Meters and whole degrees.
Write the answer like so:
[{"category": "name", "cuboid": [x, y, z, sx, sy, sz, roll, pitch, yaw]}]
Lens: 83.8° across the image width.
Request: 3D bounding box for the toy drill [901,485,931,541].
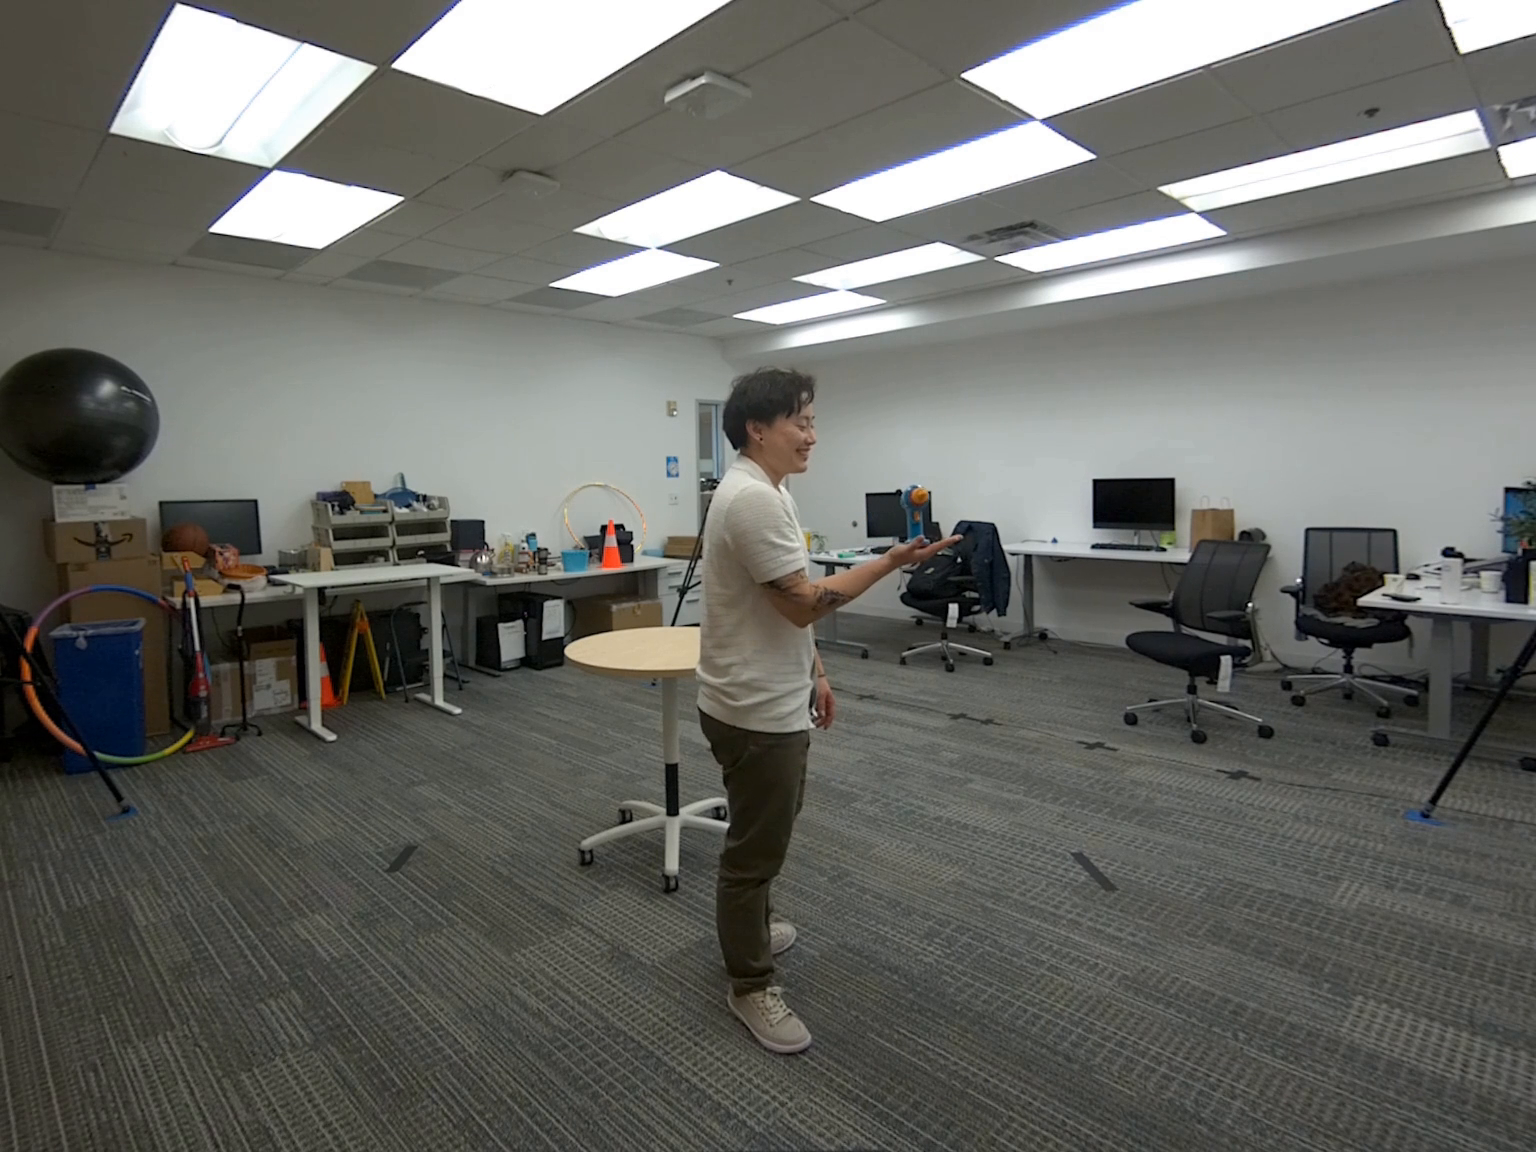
[{"category": "toy drill", "cuboid": [0.344, -0.140, 1.941, 0.061, 0.147, 0.170, -2, -3, -5]}]
